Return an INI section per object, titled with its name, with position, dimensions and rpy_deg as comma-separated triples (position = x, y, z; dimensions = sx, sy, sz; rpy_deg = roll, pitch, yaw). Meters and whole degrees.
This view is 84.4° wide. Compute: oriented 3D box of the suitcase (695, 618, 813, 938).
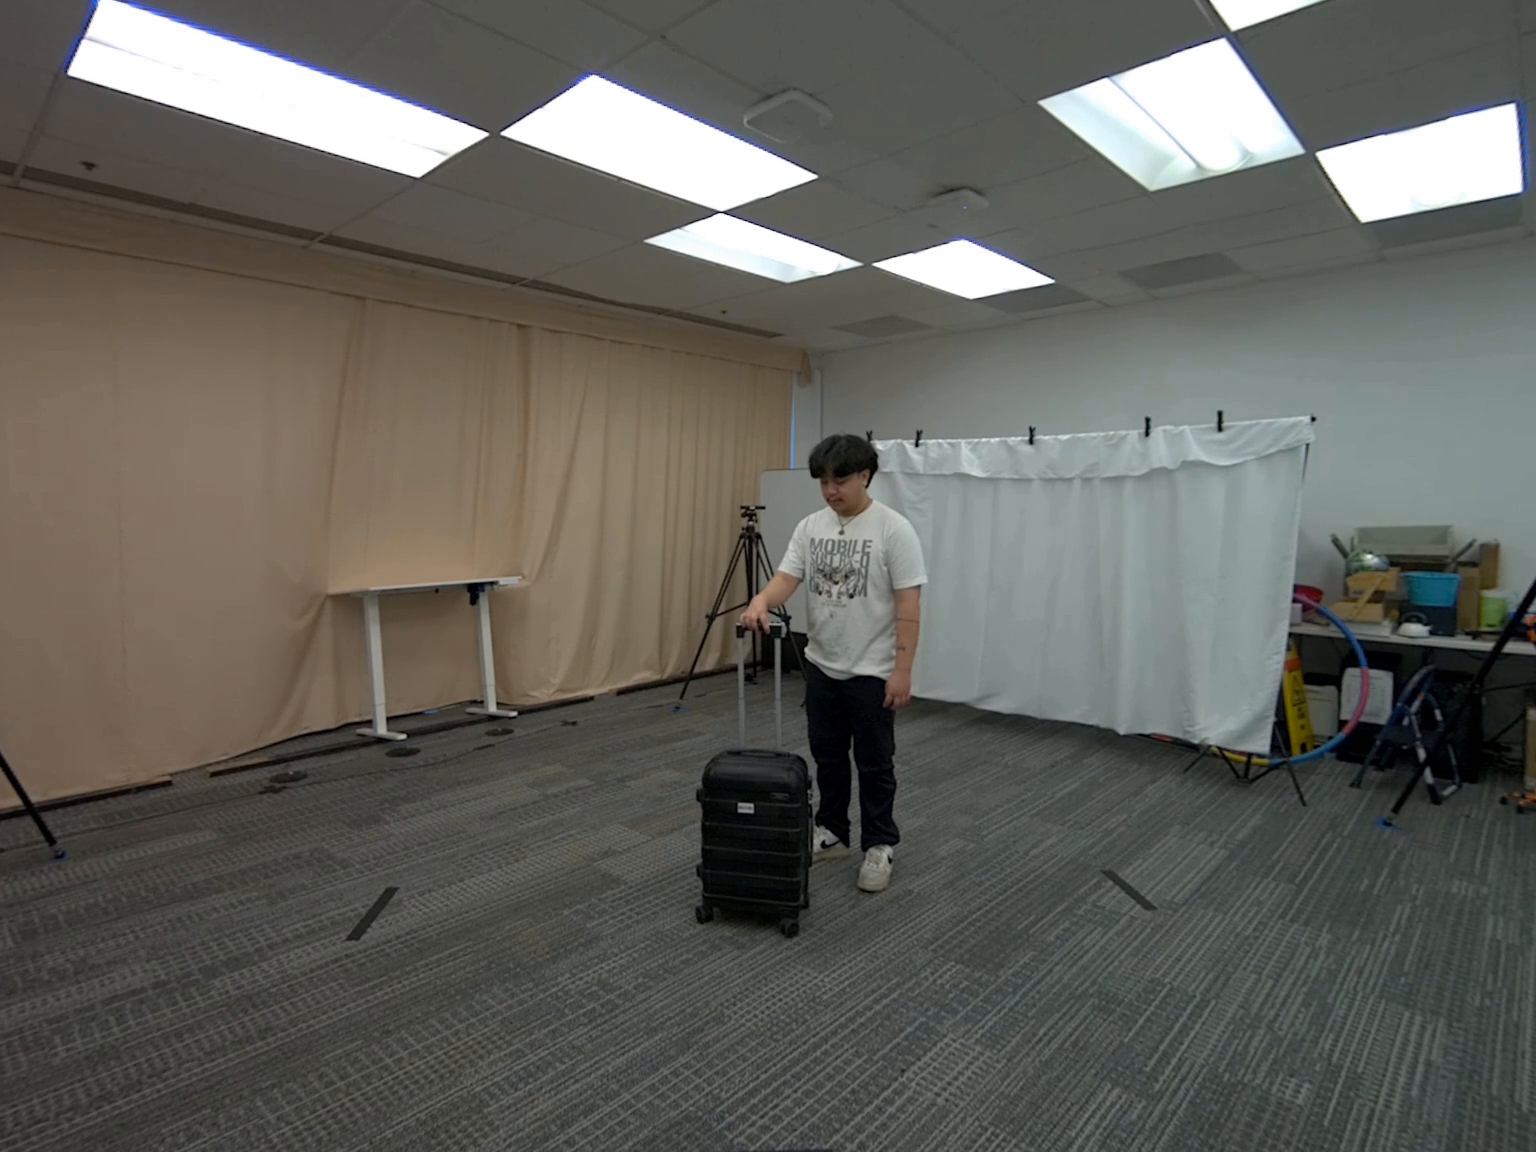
[suitcase]
position = -0.039, 0.682, 2.849
dimensions = 0.389, 0.976, 0.254
rpy_deg = 0, 4, 12
